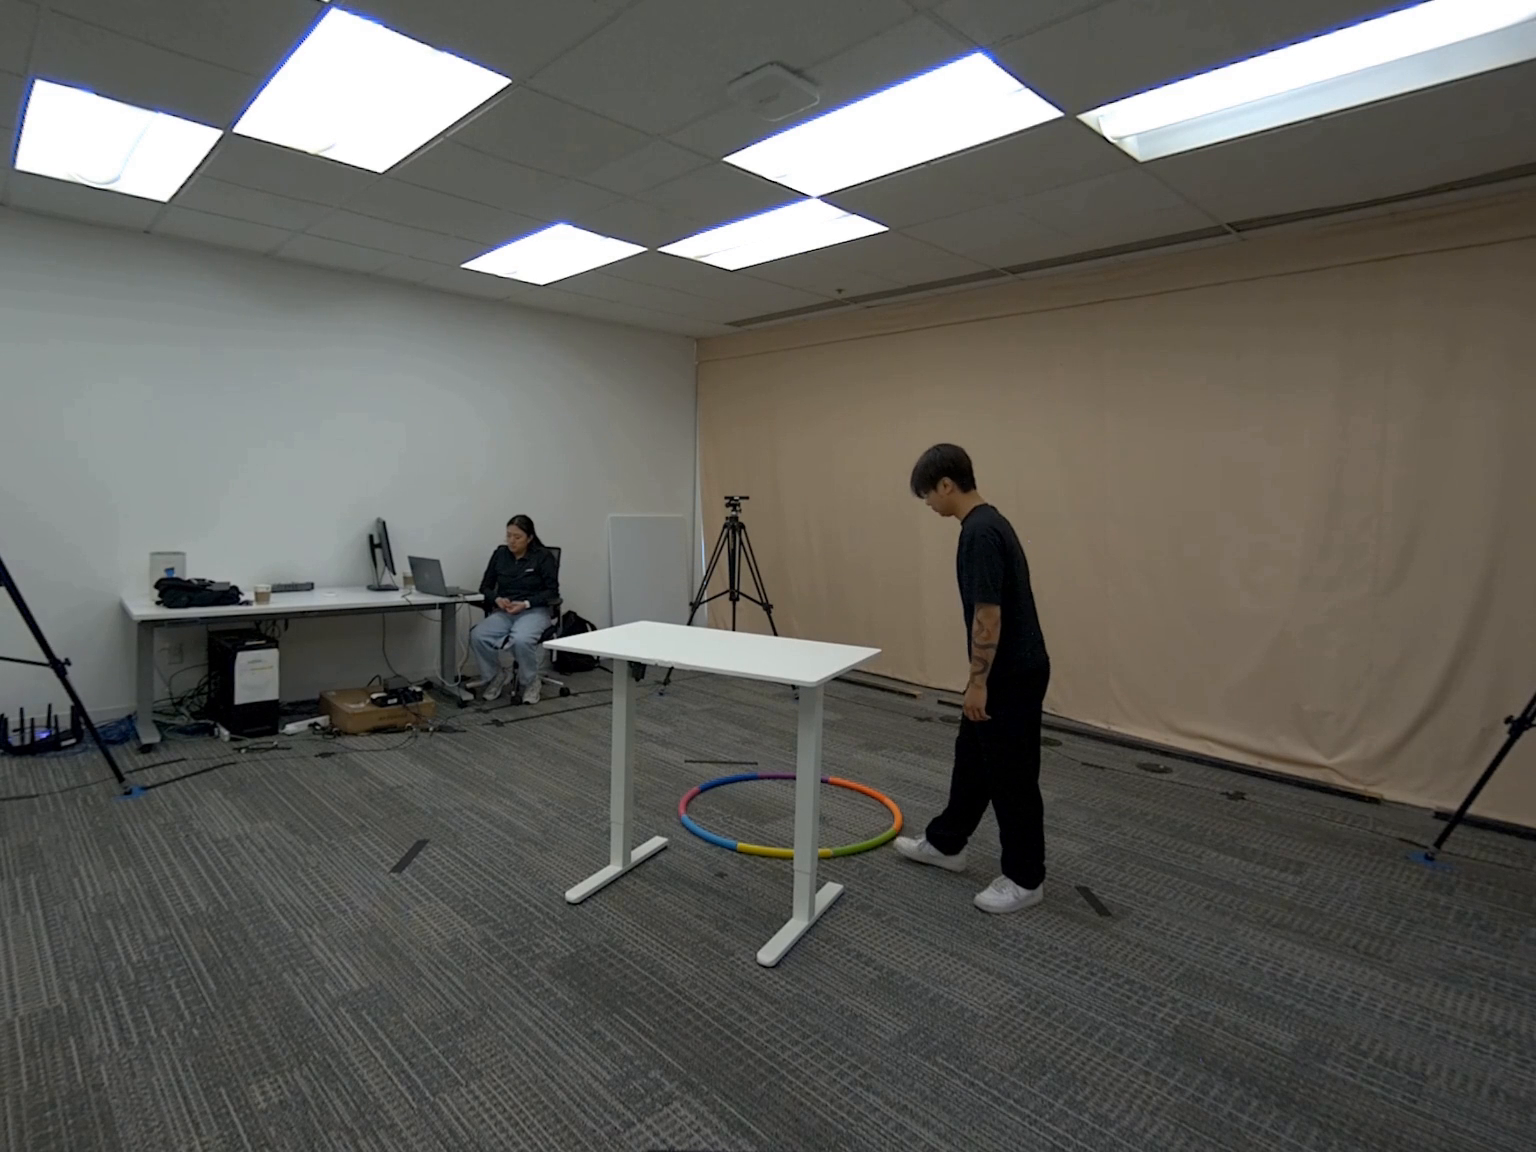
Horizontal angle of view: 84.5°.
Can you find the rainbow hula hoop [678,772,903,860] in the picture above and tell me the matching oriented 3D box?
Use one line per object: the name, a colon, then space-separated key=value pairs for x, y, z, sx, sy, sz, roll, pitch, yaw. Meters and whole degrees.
rainbow hula hoop: x=0.083 y=1.027 z=3.733 sx=0.978 sy=0.035 sz=0.982 roll=1 pitch=5 yaw=-1
